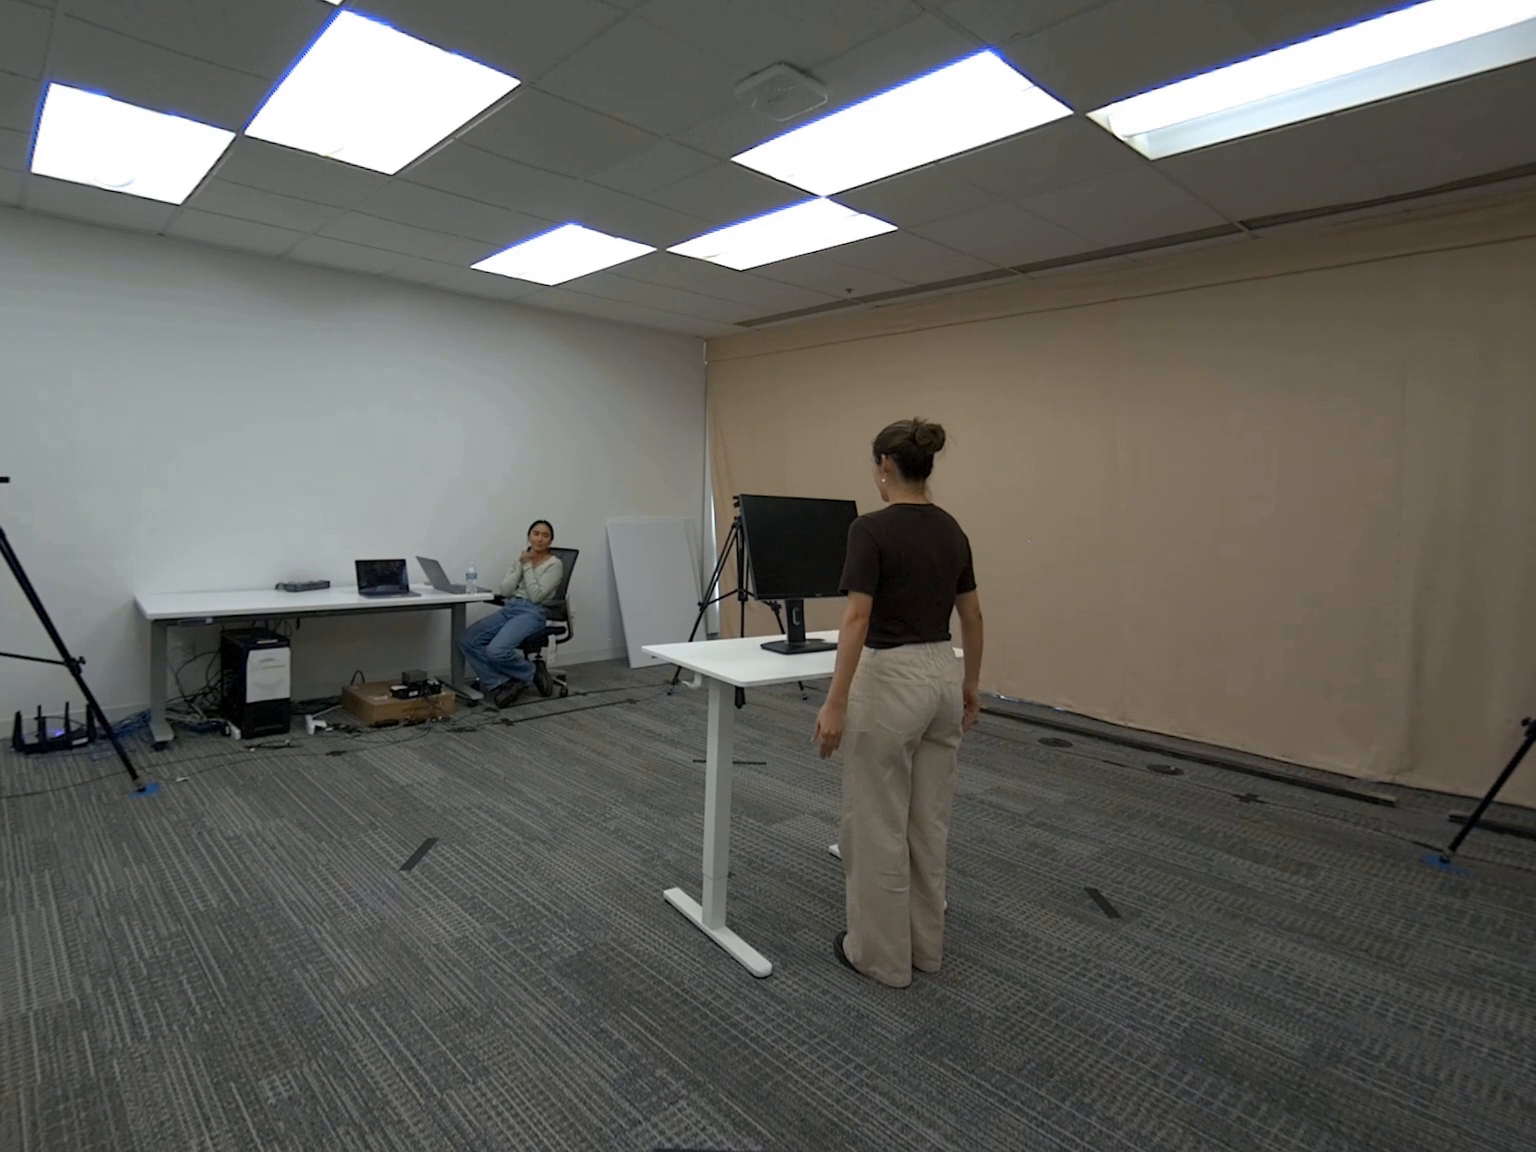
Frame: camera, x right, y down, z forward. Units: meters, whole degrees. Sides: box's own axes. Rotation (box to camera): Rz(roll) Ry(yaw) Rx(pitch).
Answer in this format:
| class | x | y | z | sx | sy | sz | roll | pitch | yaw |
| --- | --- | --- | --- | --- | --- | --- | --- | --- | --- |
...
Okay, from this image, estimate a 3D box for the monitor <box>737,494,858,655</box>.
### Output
| class | x | y | z | sx | sy | sz | roll | pitch | yaw |
| --- | --- | --- | --- | --- | --- | --- | --- | --- | --- |
| monitor | 0.114 | -0.006 | 2.869 | 0.526 | 0.523 | 0.191 | 0 | -1 | -43 |
